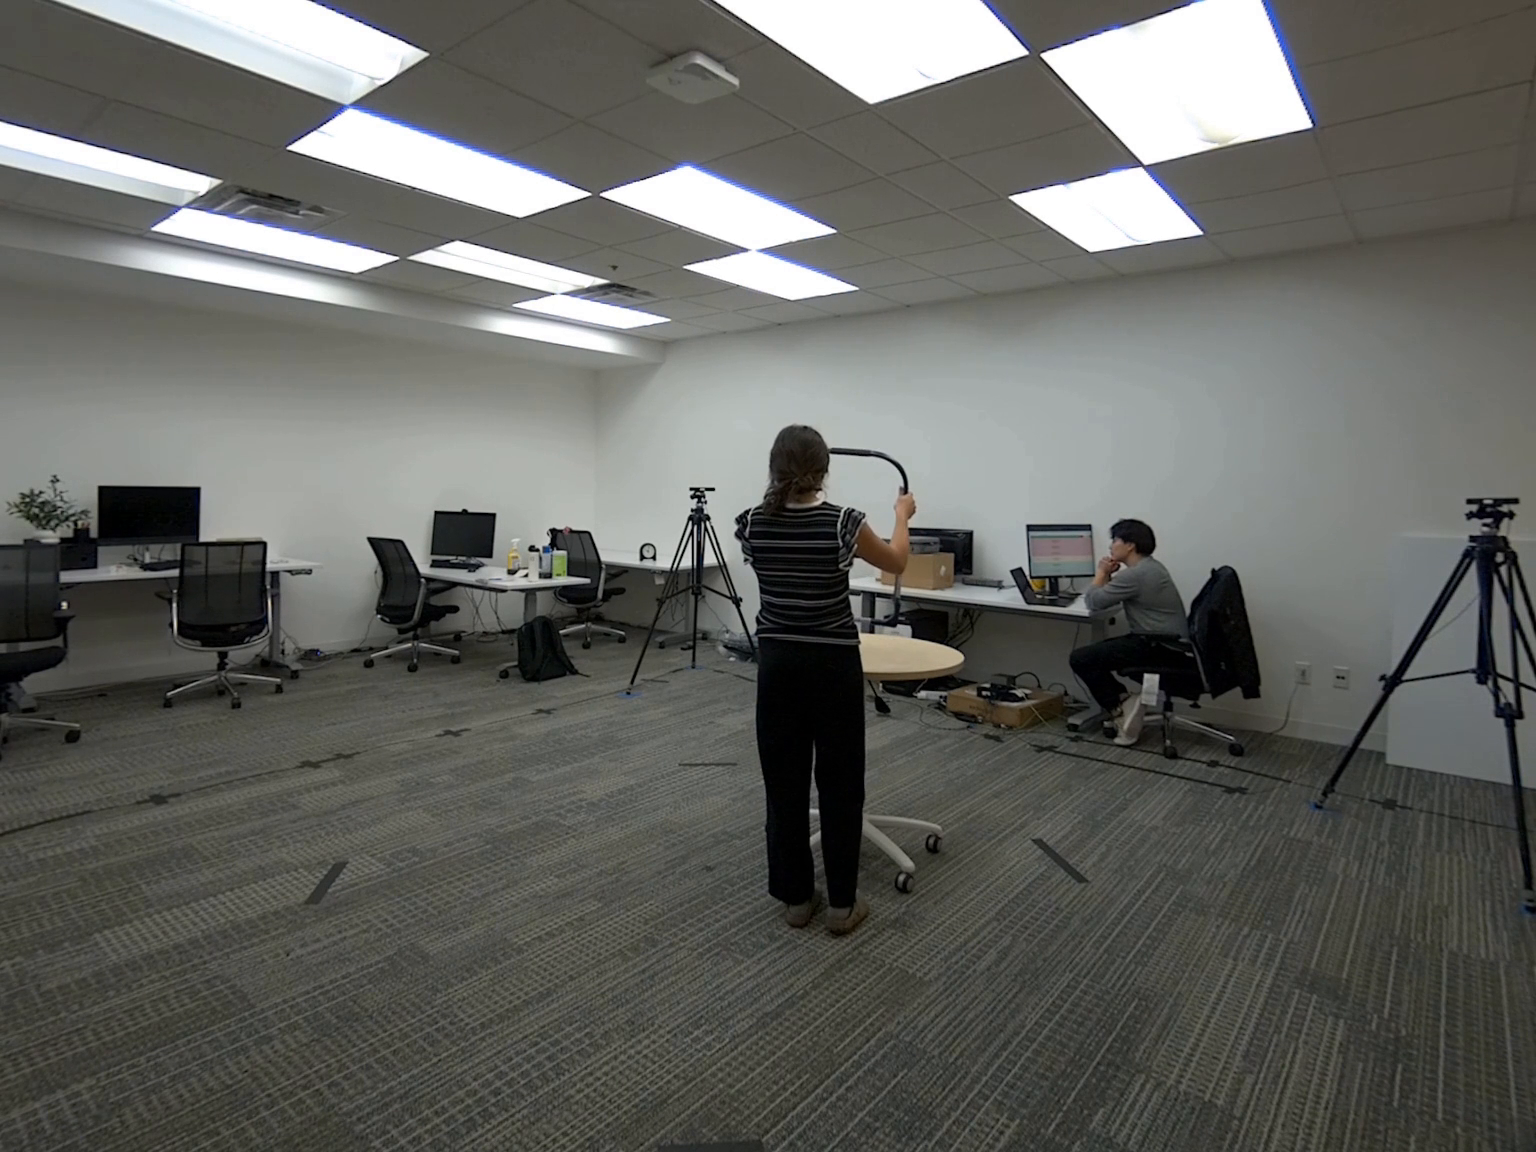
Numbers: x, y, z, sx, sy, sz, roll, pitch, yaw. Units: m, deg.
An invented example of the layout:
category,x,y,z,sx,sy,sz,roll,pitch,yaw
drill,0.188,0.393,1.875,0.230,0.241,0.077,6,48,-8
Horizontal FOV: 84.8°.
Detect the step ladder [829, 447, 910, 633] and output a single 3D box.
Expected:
category,x,y,z,sx,sy,sz,roll,pitch,yaw
step ladder,0.271,-0.171,3.107,0.436,0.598,0.349,5,14,10
